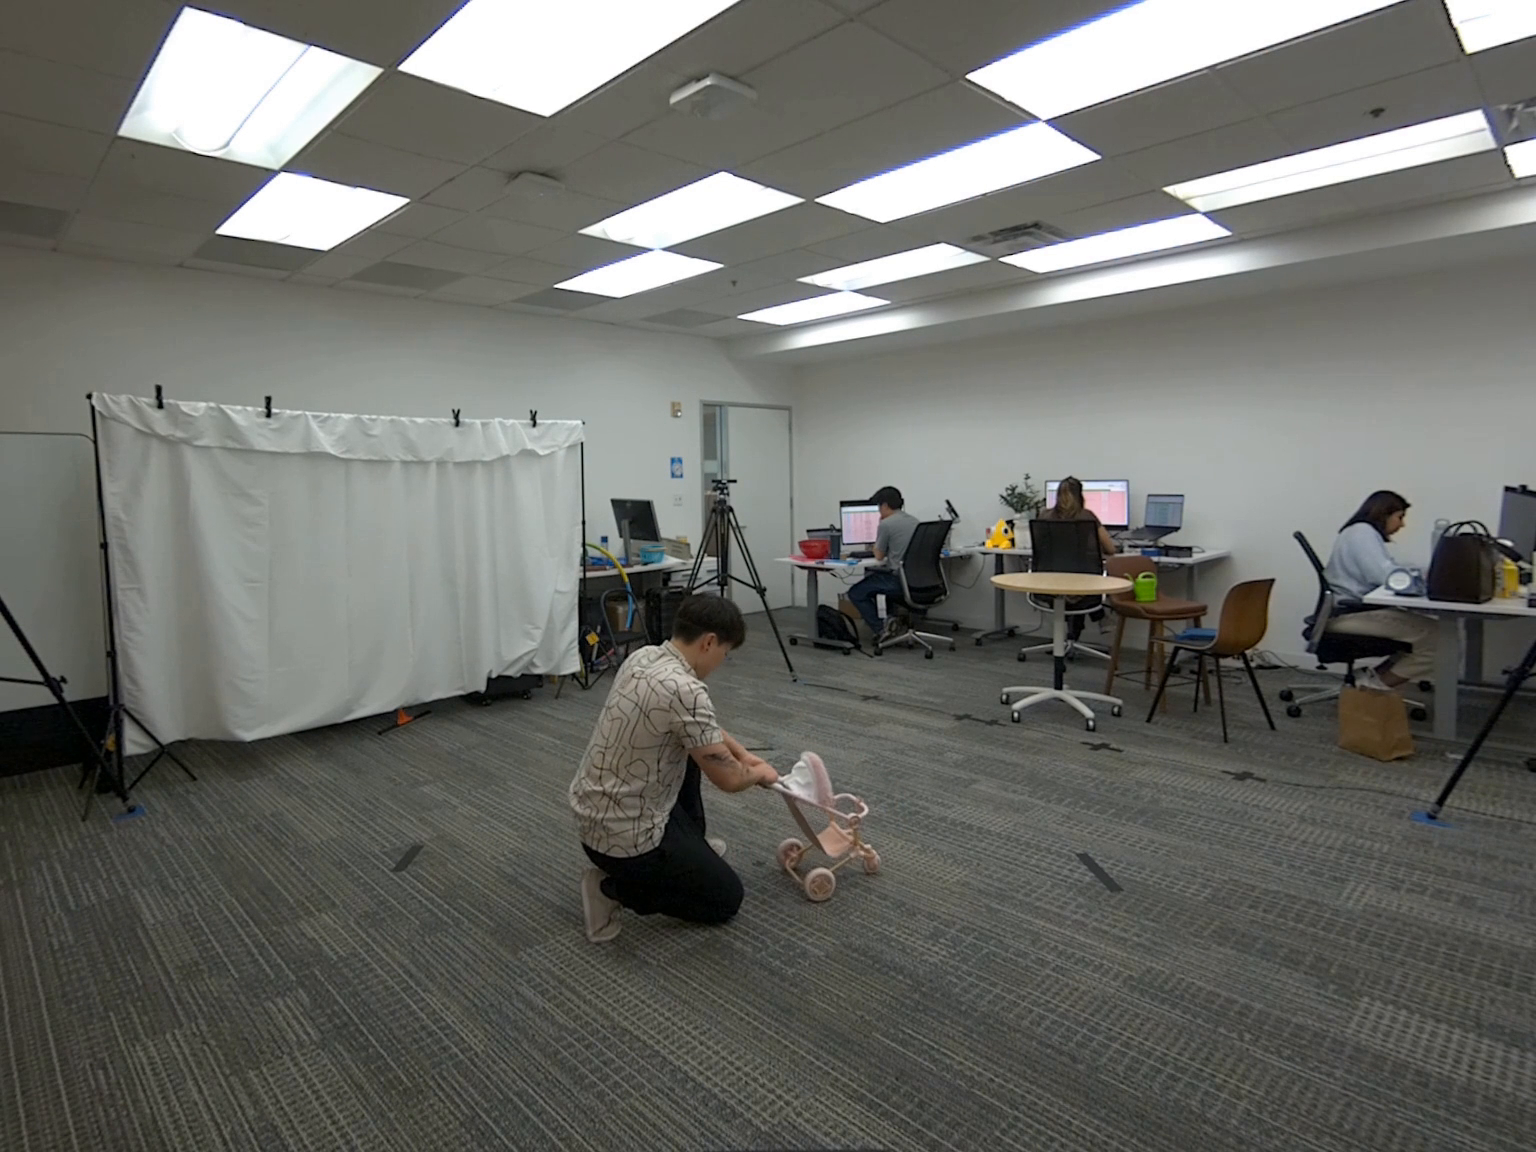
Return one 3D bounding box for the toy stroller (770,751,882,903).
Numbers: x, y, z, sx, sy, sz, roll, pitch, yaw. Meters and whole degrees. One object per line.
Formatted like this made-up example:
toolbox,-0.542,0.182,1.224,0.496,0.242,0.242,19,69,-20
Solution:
toy stroller,0.183,0.833,2.945,0.338,0.530,0.286,-19,8,-14
